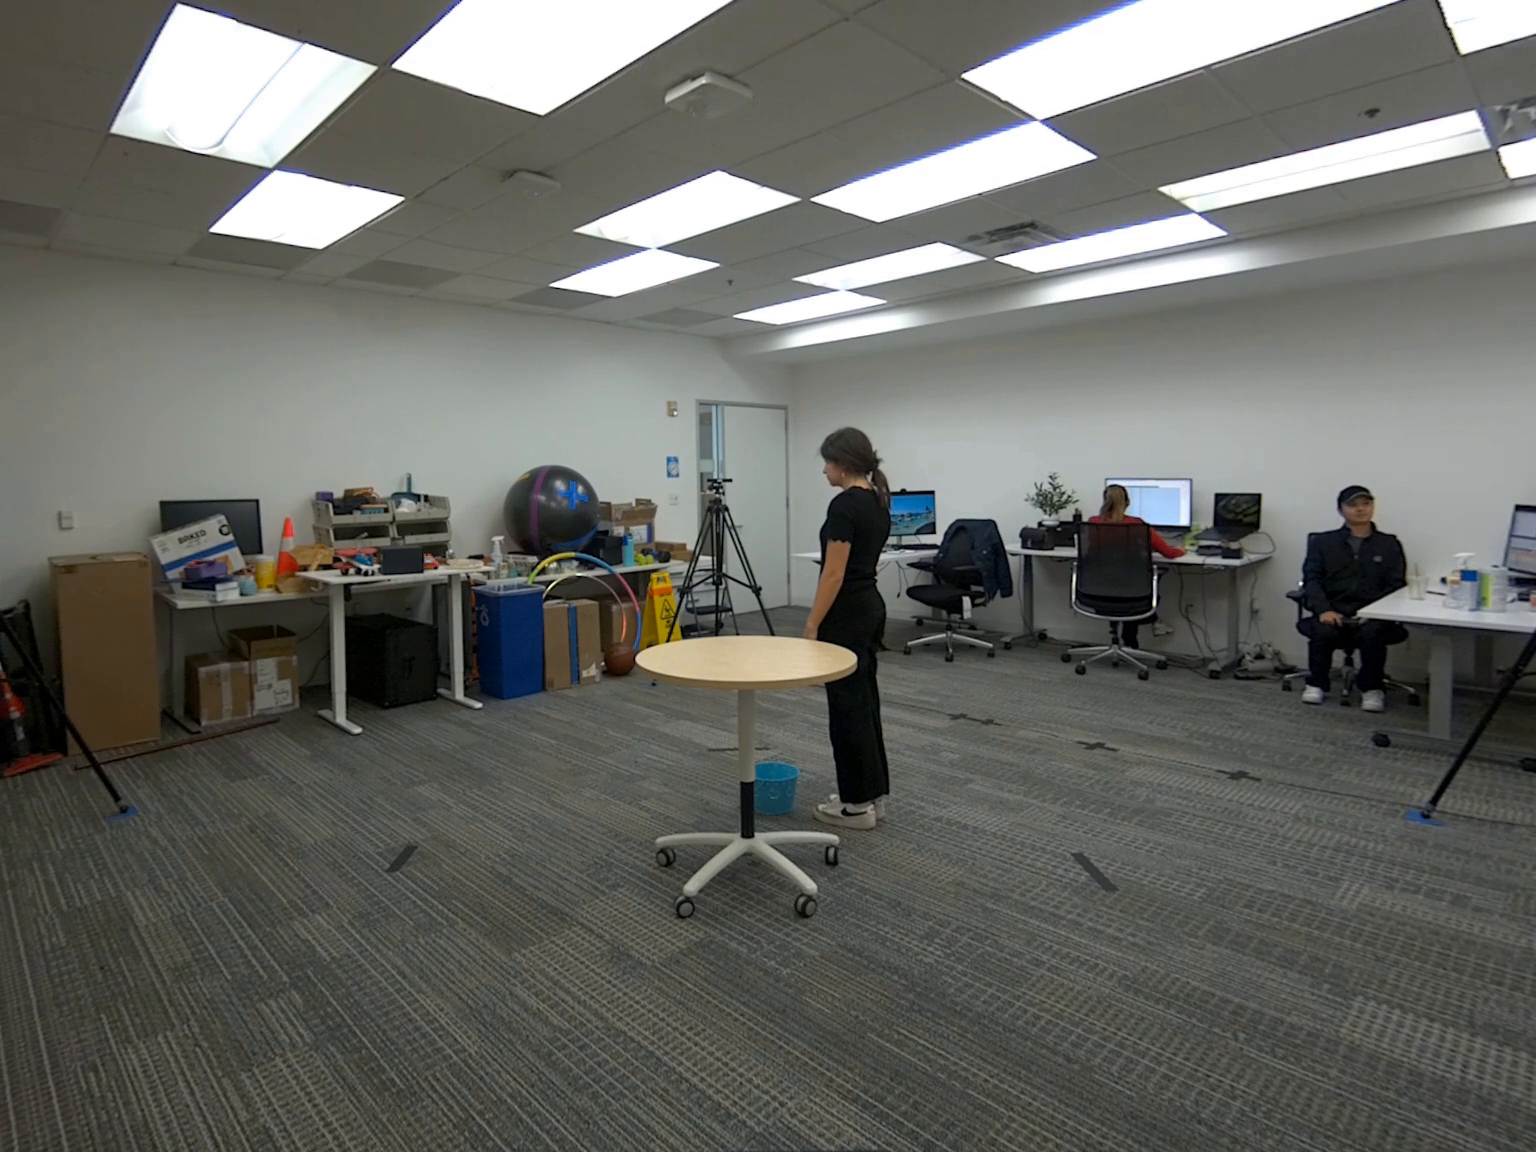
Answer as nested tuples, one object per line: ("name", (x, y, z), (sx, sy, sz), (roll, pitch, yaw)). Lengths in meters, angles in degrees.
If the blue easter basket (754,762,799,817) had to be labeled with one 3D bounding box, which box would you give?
("blue easter basket", (0.028, 0.906, 3.650), (0.243, 0.155, 0.245), (-2, 6, -2))
